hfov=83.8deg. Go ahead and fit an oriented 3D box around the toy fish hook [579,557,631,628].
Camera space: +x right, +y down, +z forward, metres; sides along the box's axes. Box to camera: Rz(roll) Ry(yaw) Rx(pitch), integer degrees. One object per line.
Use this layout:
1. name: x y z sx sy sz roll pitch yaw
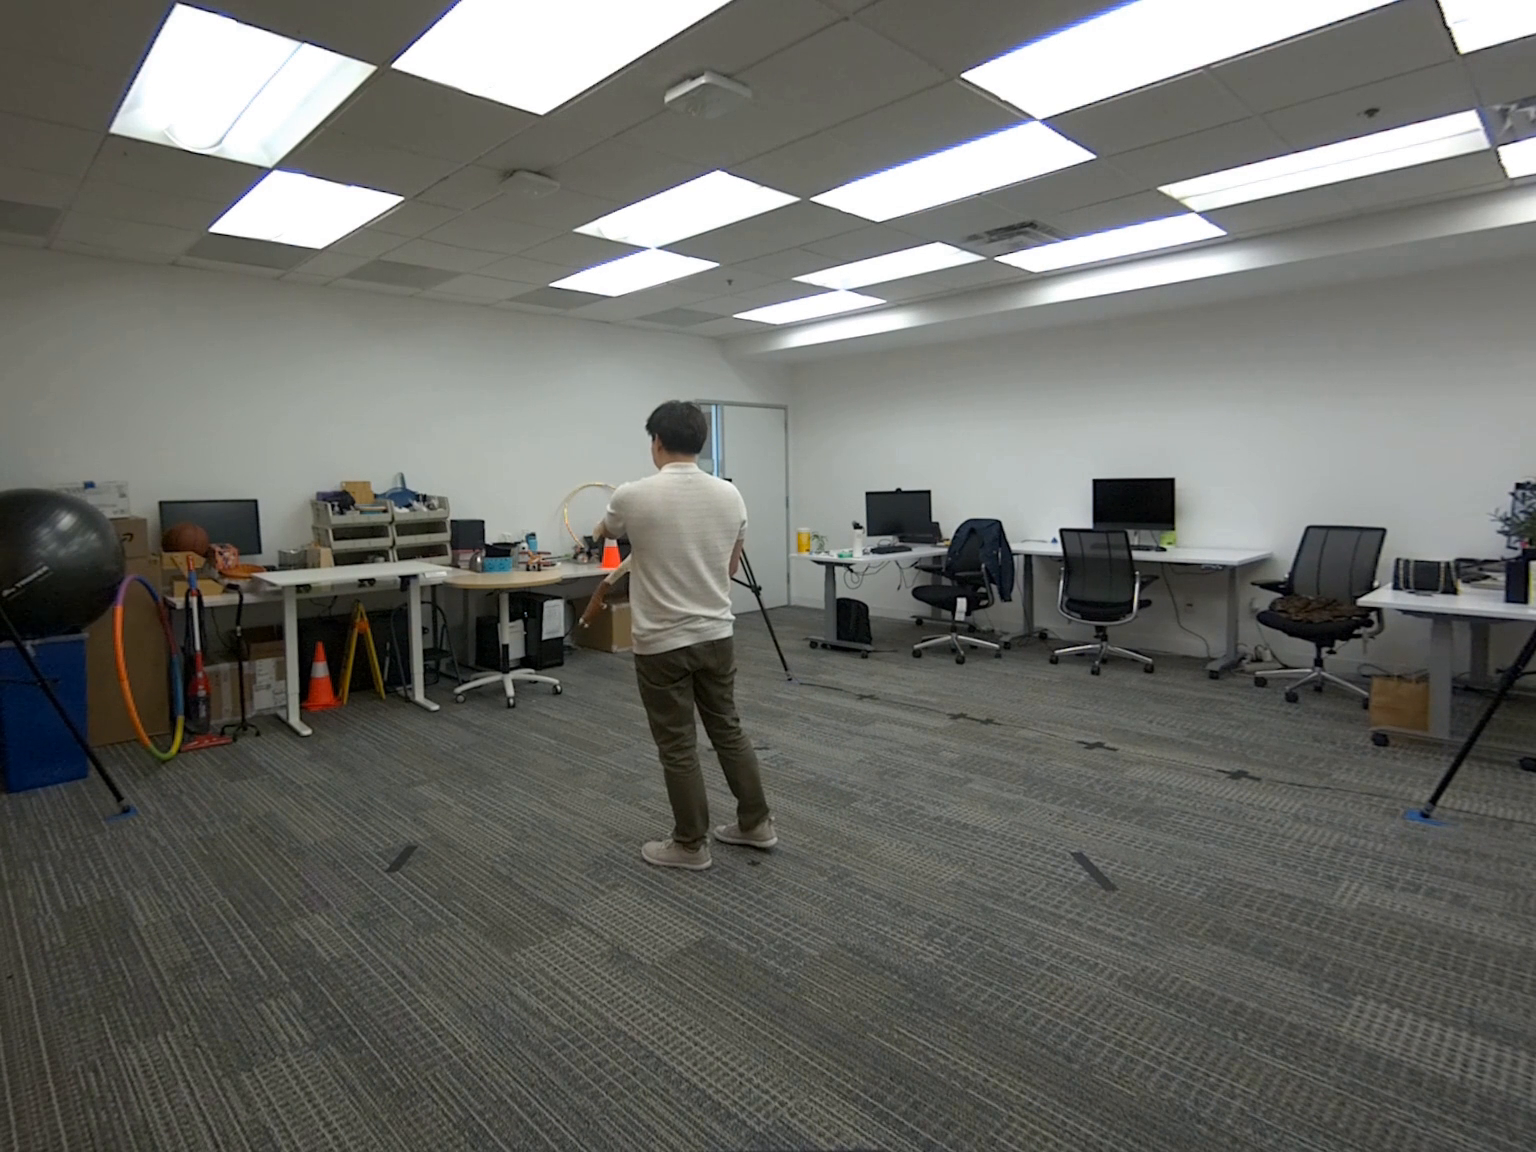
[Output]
1. toy fish hook: -0.638 -0.041 3.381 0.224 0.508 0.048 28 -10 -3
